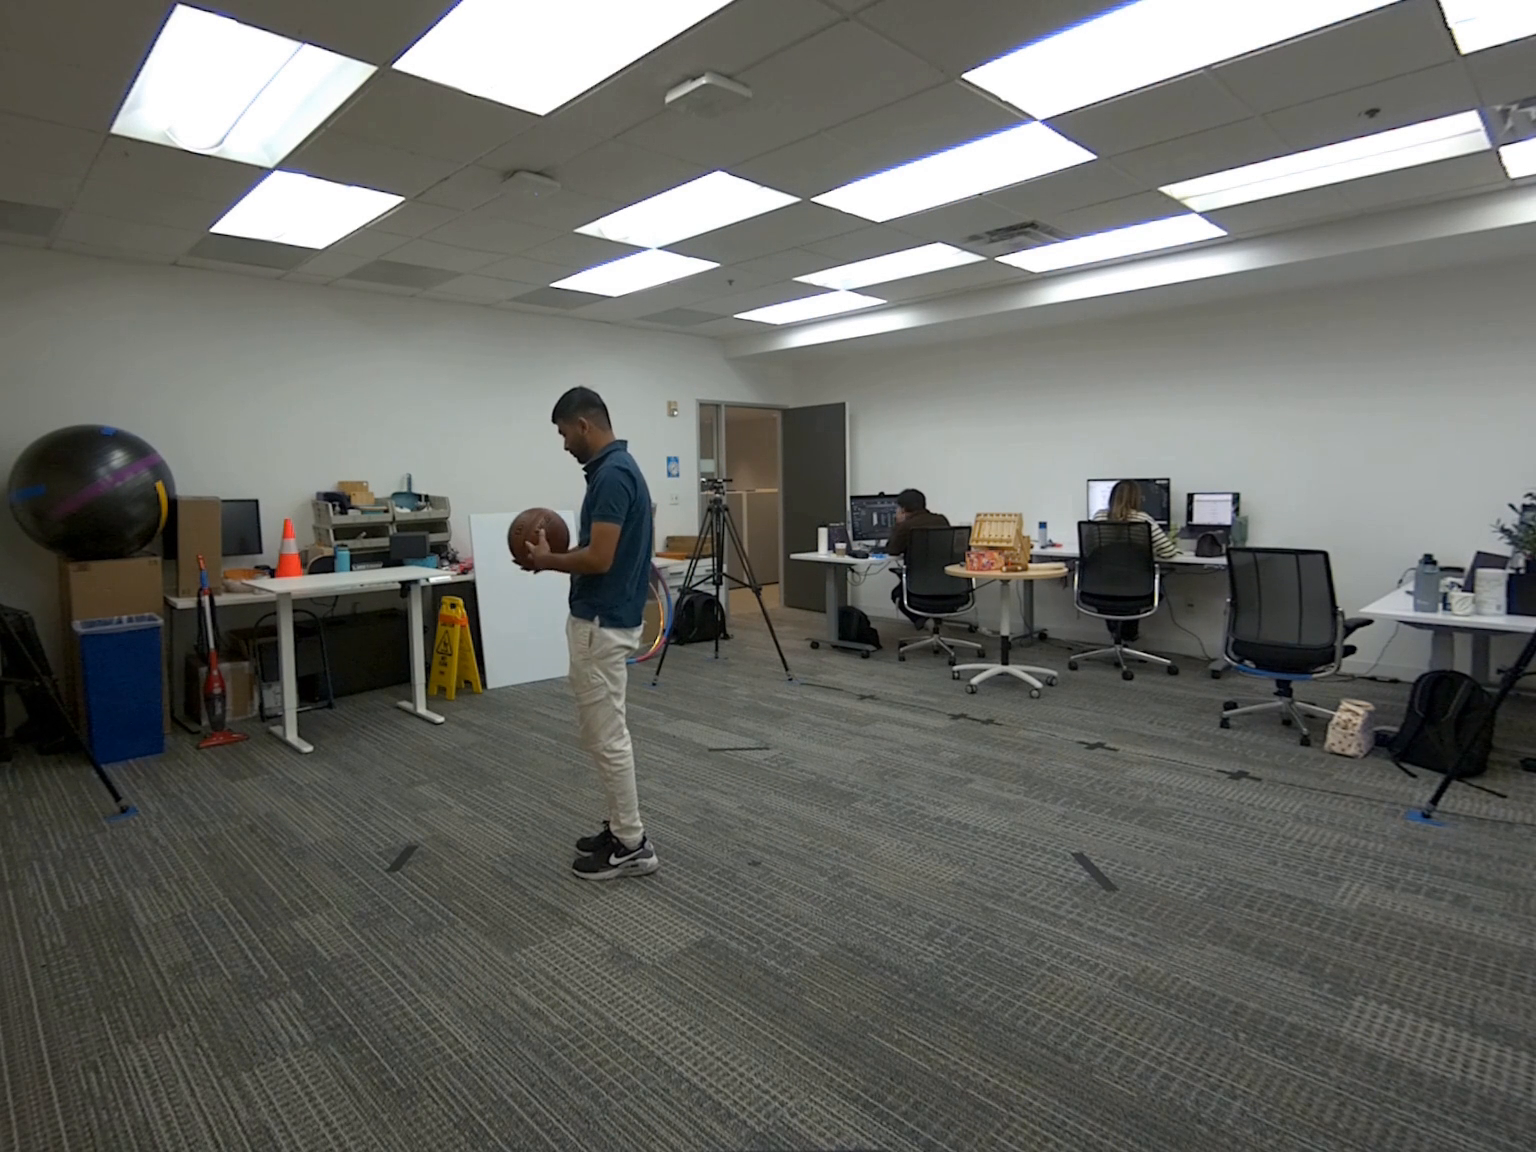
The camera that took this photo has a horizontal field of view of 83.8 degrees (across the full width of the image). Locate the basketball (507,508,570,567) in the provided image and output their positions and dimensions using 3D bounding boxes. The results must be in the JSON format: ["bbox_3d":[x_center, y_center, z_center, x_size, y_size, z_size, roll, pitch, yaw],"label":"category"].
[{"bbox_3d":[-0.860,-0.133,3.272,0.236,0.235,0.237,-1,5,-2],"label":"basketball"}]
